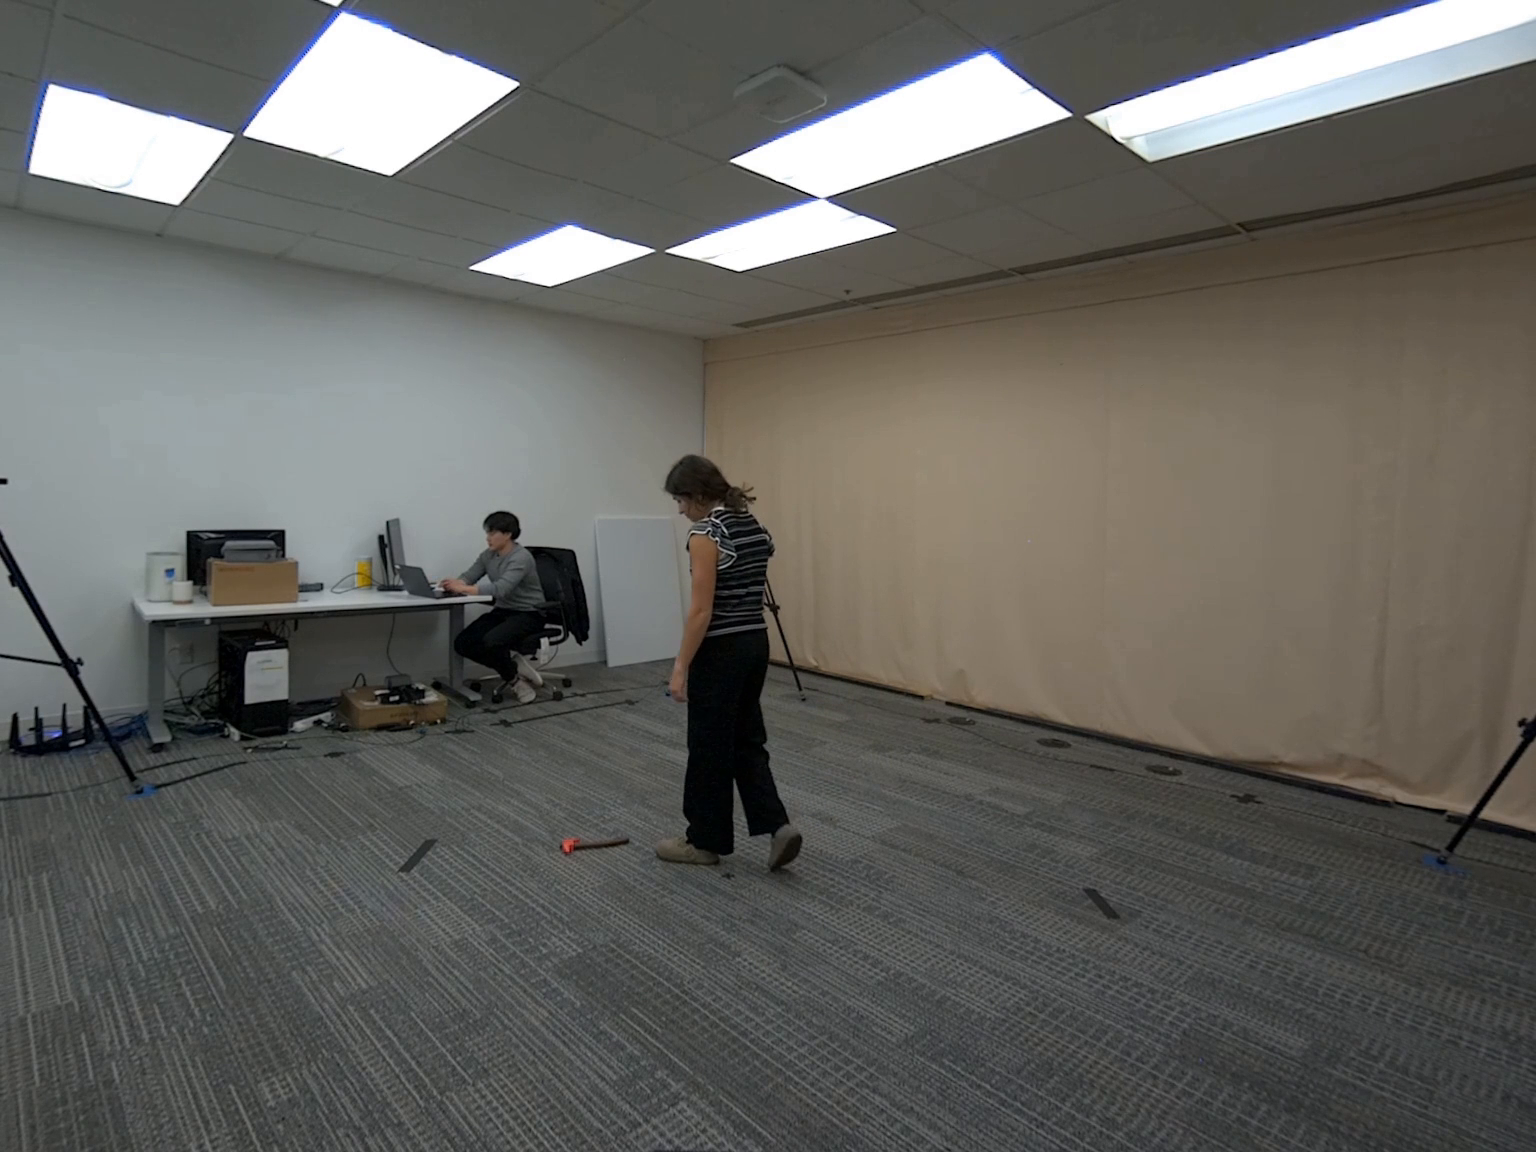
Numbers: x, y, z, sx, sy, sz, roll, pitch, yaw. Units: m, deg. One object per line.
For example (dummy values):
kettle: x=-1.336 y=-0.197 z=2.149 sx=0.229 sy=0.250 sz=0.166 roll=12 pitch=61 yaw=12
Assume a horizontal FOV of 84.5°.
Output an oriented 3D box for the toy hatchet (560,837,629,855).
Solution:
toy hatchet: x=-0.702 y=1.051 z=3.354 sx=0.264 sy=0.029 sz=0.134 roll=1 pitch=2 yaw=-32
